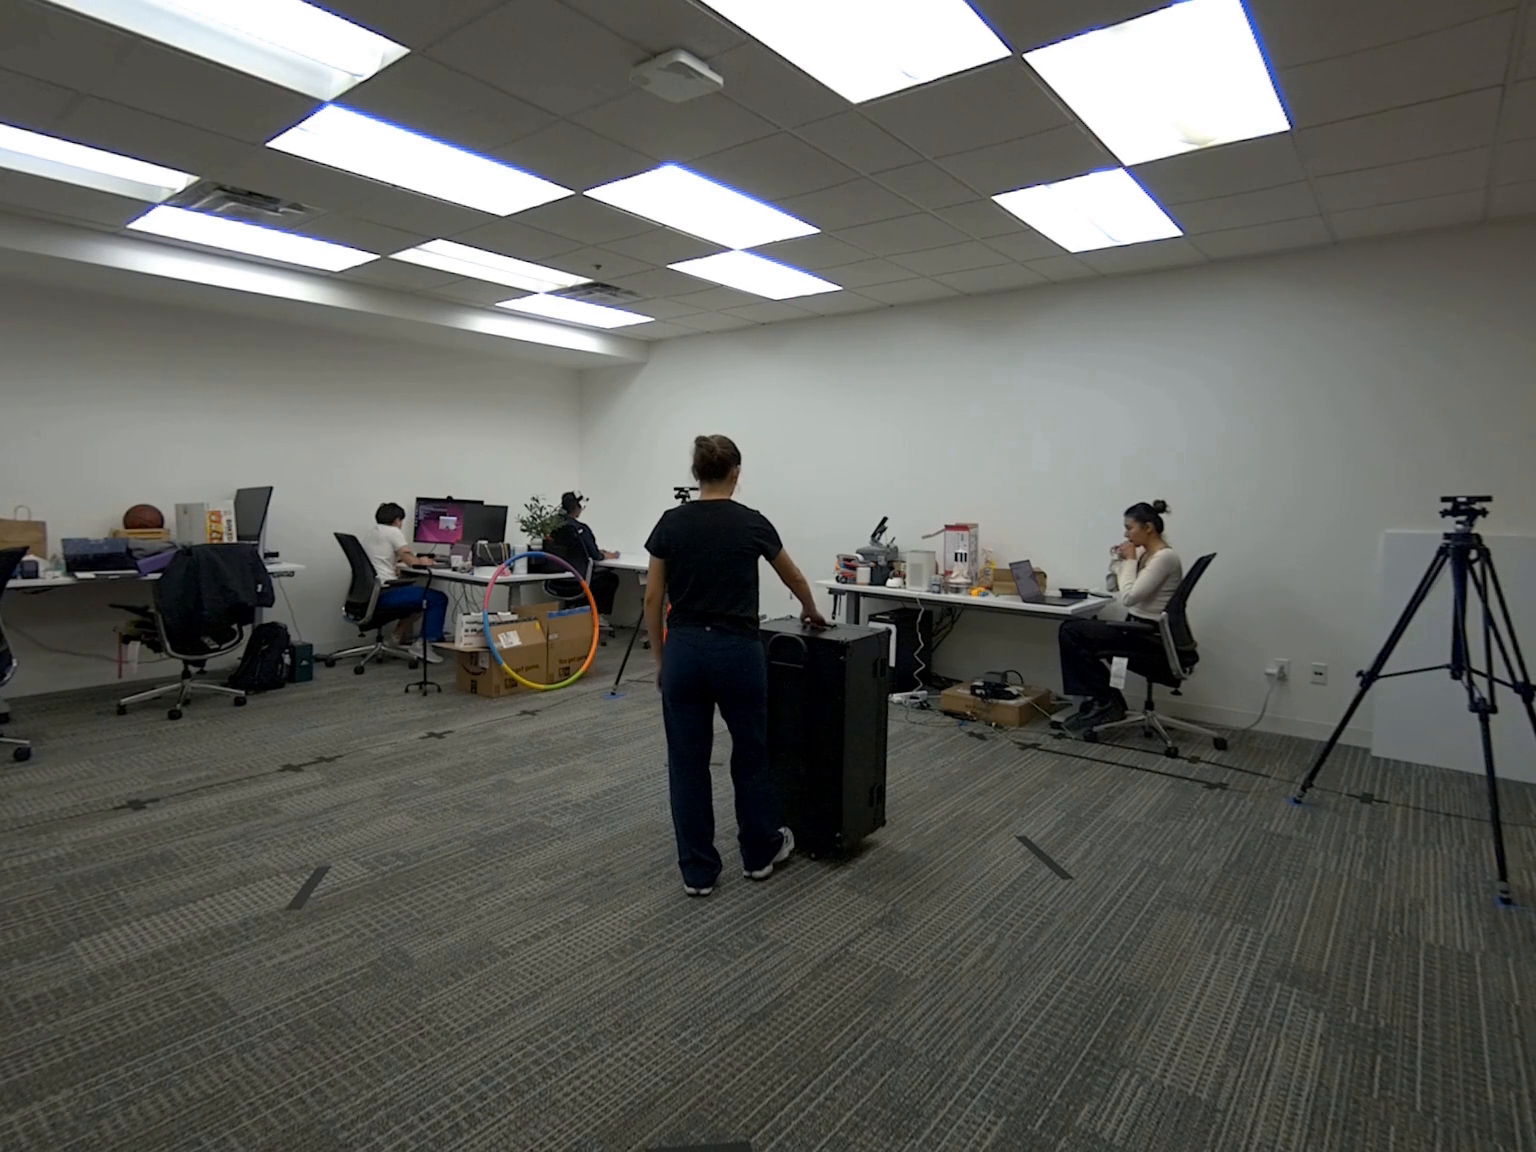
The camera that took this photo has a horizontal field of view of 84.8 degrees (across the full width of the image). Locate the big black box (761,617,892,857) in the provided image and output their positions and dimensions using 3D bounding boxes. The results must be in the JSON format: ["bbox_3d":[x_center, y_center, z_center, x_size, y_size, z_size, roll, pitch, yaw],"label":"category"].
[{"bbox_3d":[0.197,0.621,3.359,0.538,0.858,0.385,4,5,37],"label":"big black box"}]
